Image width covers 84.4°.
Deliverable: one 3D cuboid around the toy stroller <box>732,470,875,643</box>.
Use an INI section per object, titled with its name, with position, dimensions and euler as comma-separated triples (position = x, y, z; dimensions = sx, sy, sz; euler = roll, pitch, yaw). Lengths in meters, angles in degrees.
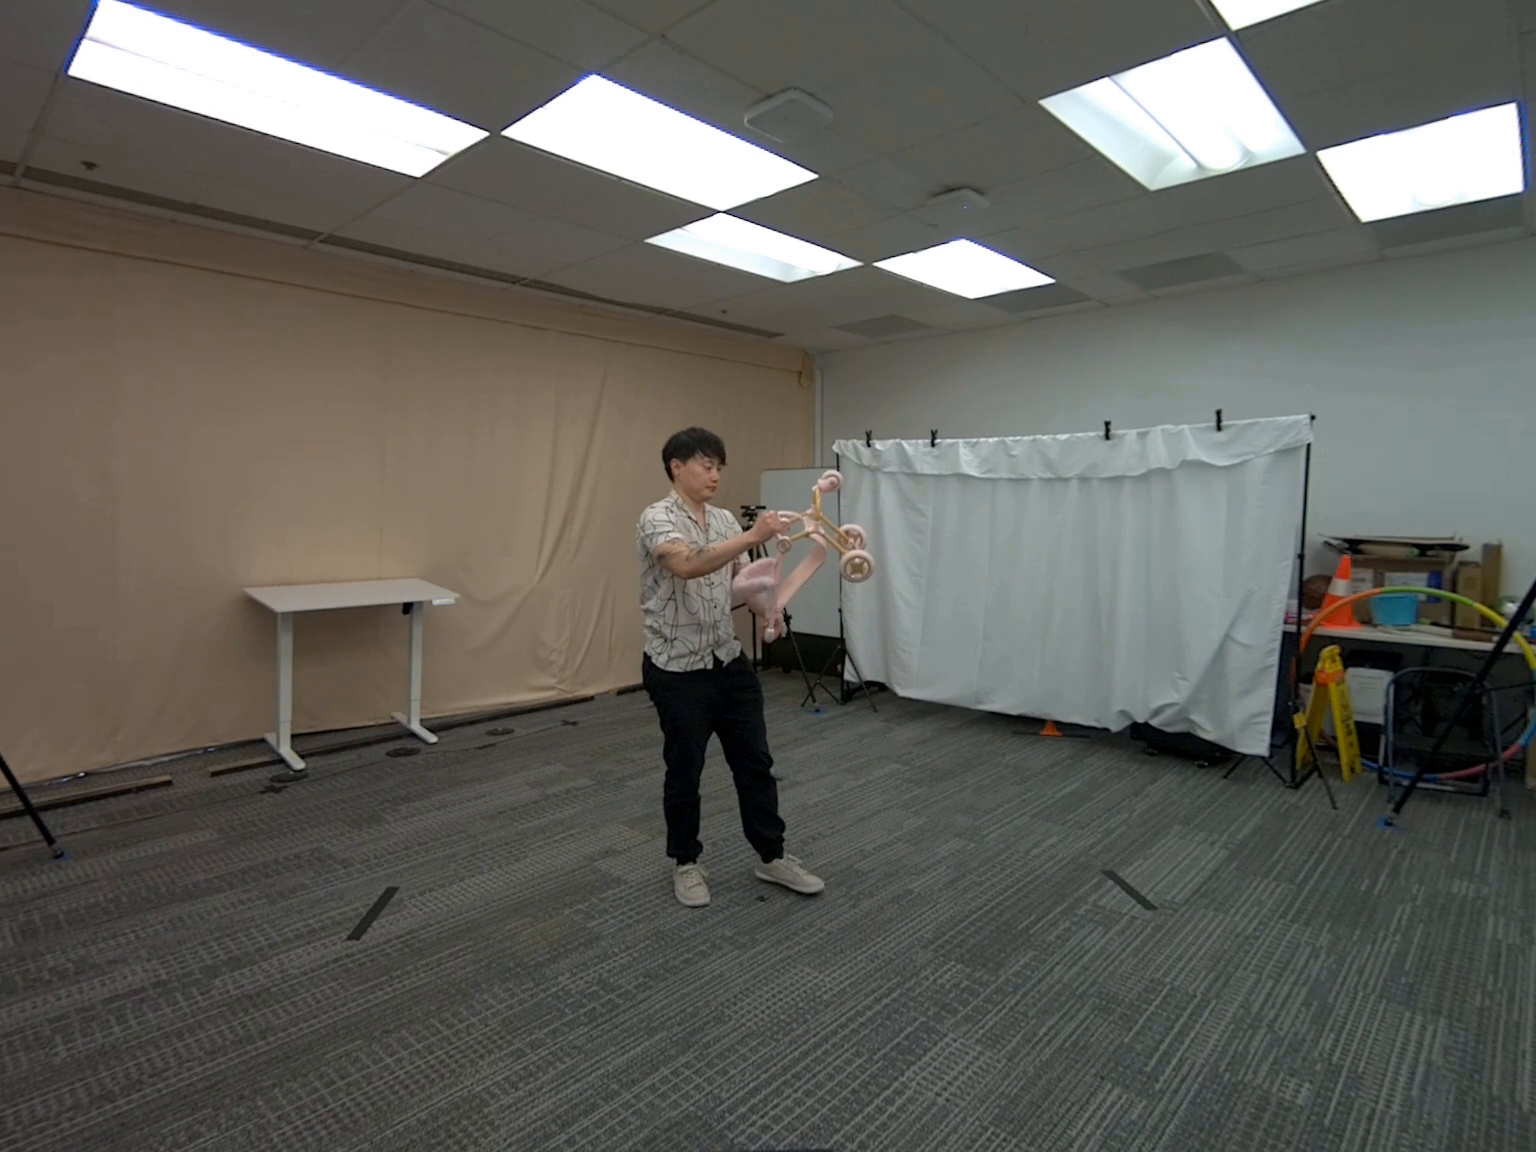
[toy stroller]
position = 0.107, -0.067, 2.731
dimensions = 0.539, 0.334, 0.285
euler = -35, 19, 16
